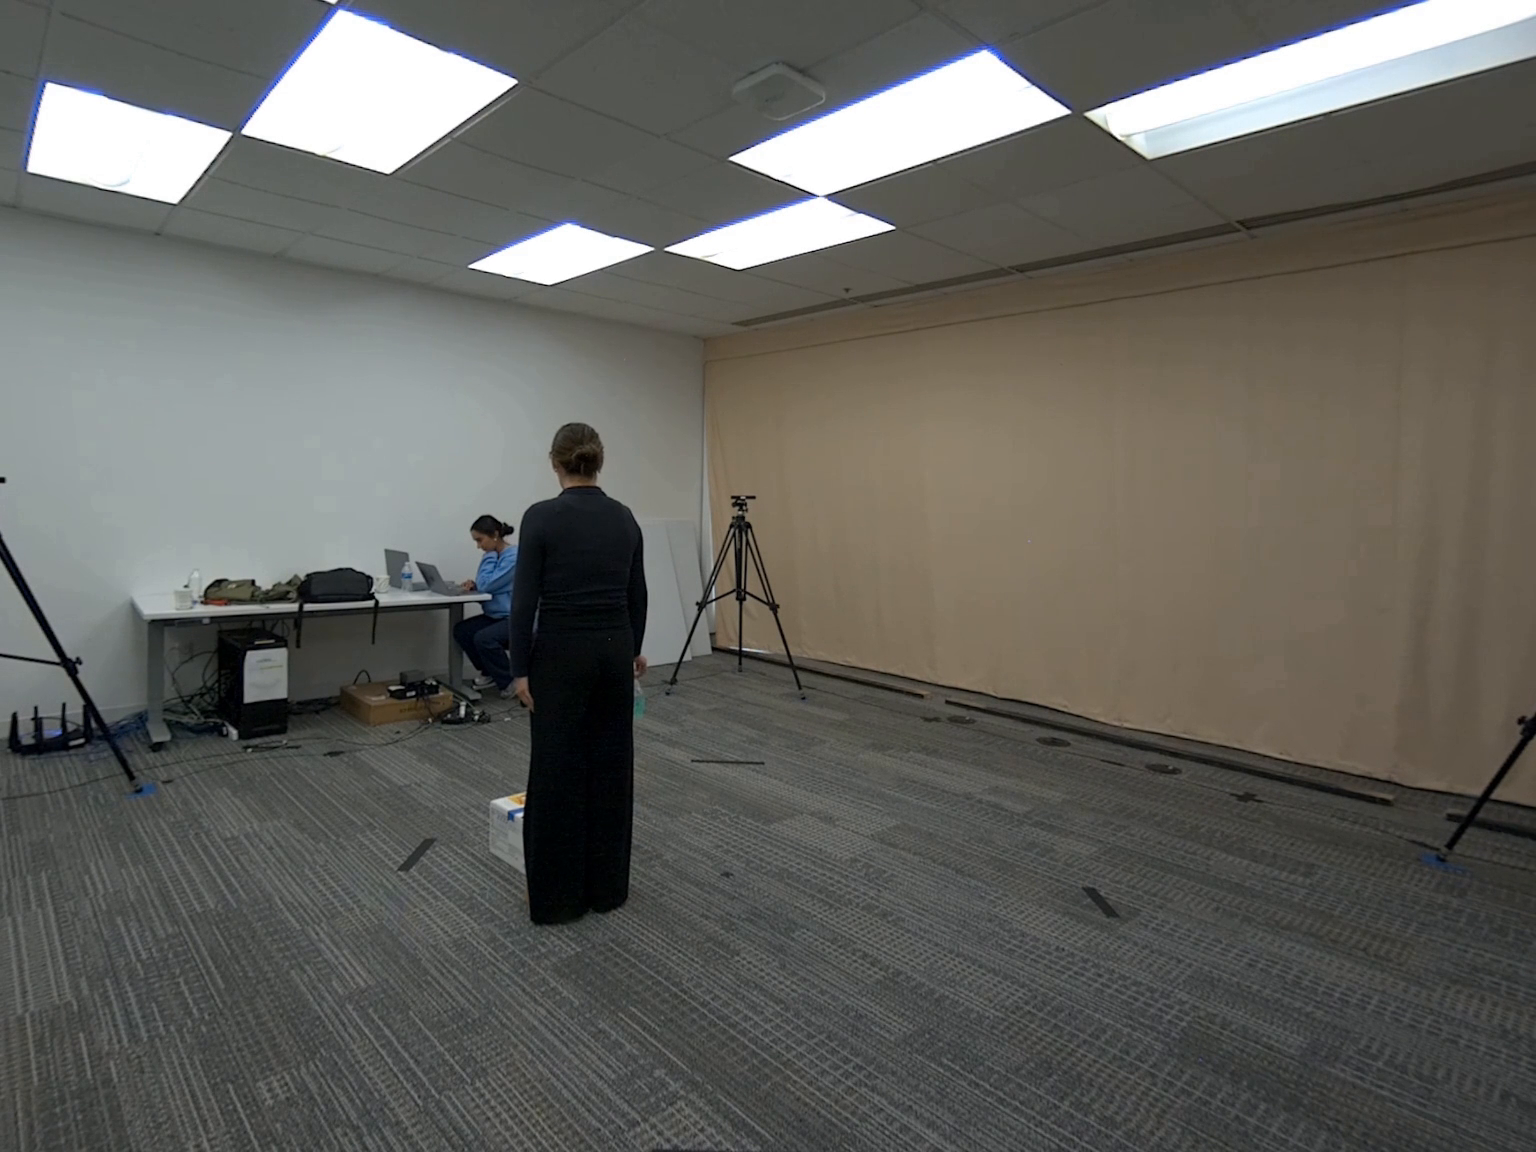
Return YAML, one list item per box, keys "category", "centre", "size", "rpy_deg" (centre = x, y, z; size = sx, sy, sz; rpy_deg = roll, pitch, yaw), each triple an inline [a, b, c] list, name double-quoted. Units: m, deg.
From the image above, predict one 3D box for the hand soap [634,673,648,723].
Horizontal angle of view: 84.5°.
- category: "hand soap"
  centre: [-0.490, 0.437, 3.088]
  size: [0.086, 0.168, 0.042]
  rpy_deg: [3, 3, 29]
